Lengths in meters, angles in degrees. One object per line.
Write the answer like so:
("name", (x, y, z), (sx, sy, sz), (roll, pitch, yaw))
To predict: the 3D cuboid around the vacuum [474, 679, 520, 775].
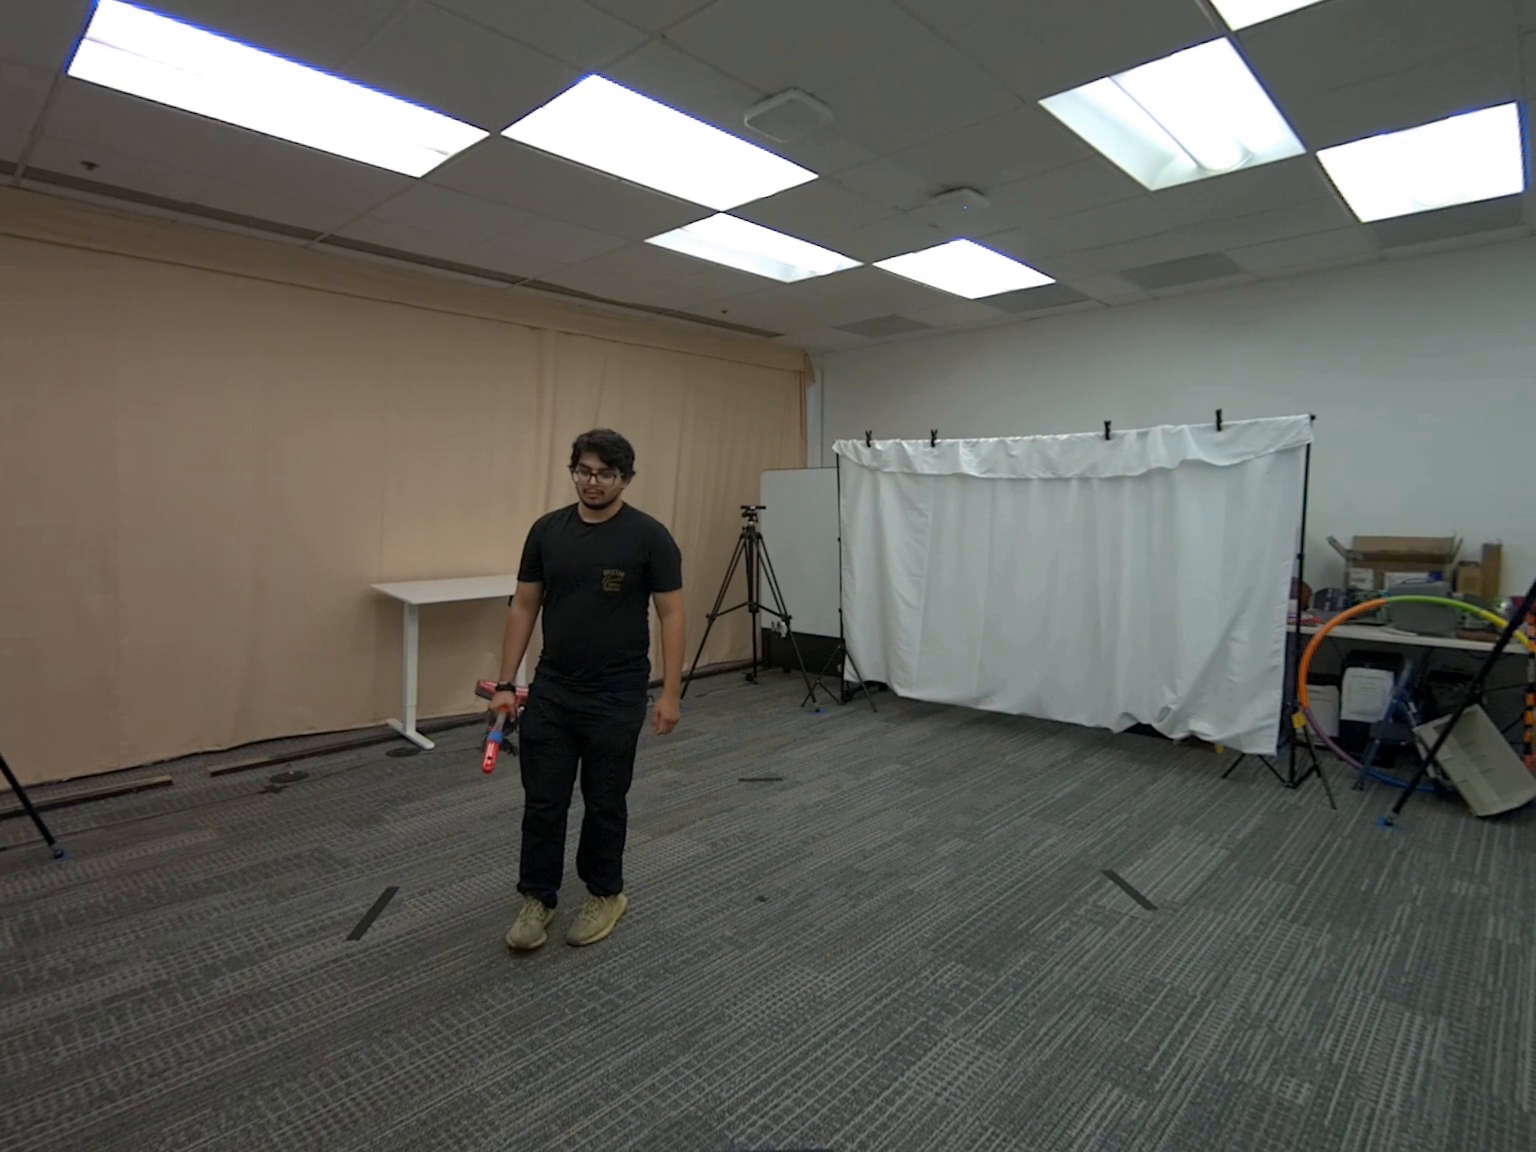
("vacuum", (-0.832, 0.487, 2.555), (0.249, 0.144, 1.064), (11, -2, -14))
